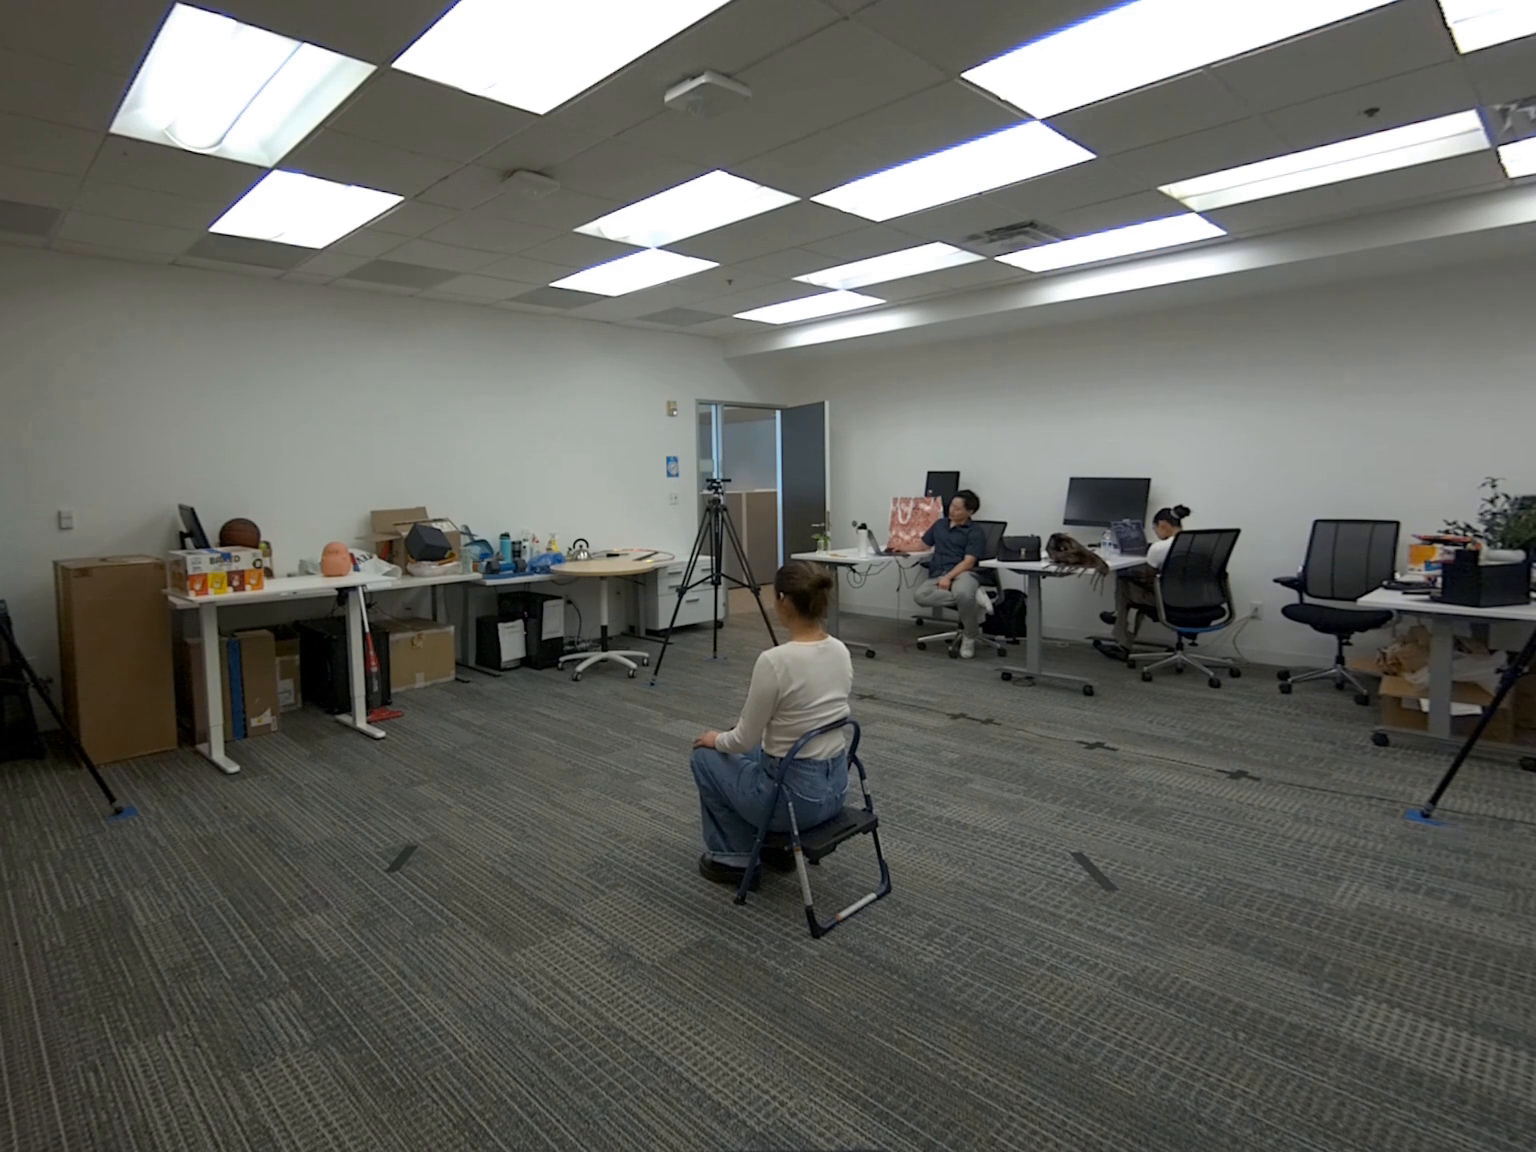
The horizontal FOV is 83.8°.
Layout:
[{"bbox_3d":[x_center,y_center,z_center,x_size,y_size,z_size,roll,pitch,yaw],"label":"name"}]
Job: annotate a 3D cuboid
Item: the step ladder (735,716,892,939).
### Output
[{"bbox_3d":[0.153,0.767,2.827,0.360,0.604,0.419,3,6,42],"label":"step ladder"}]
